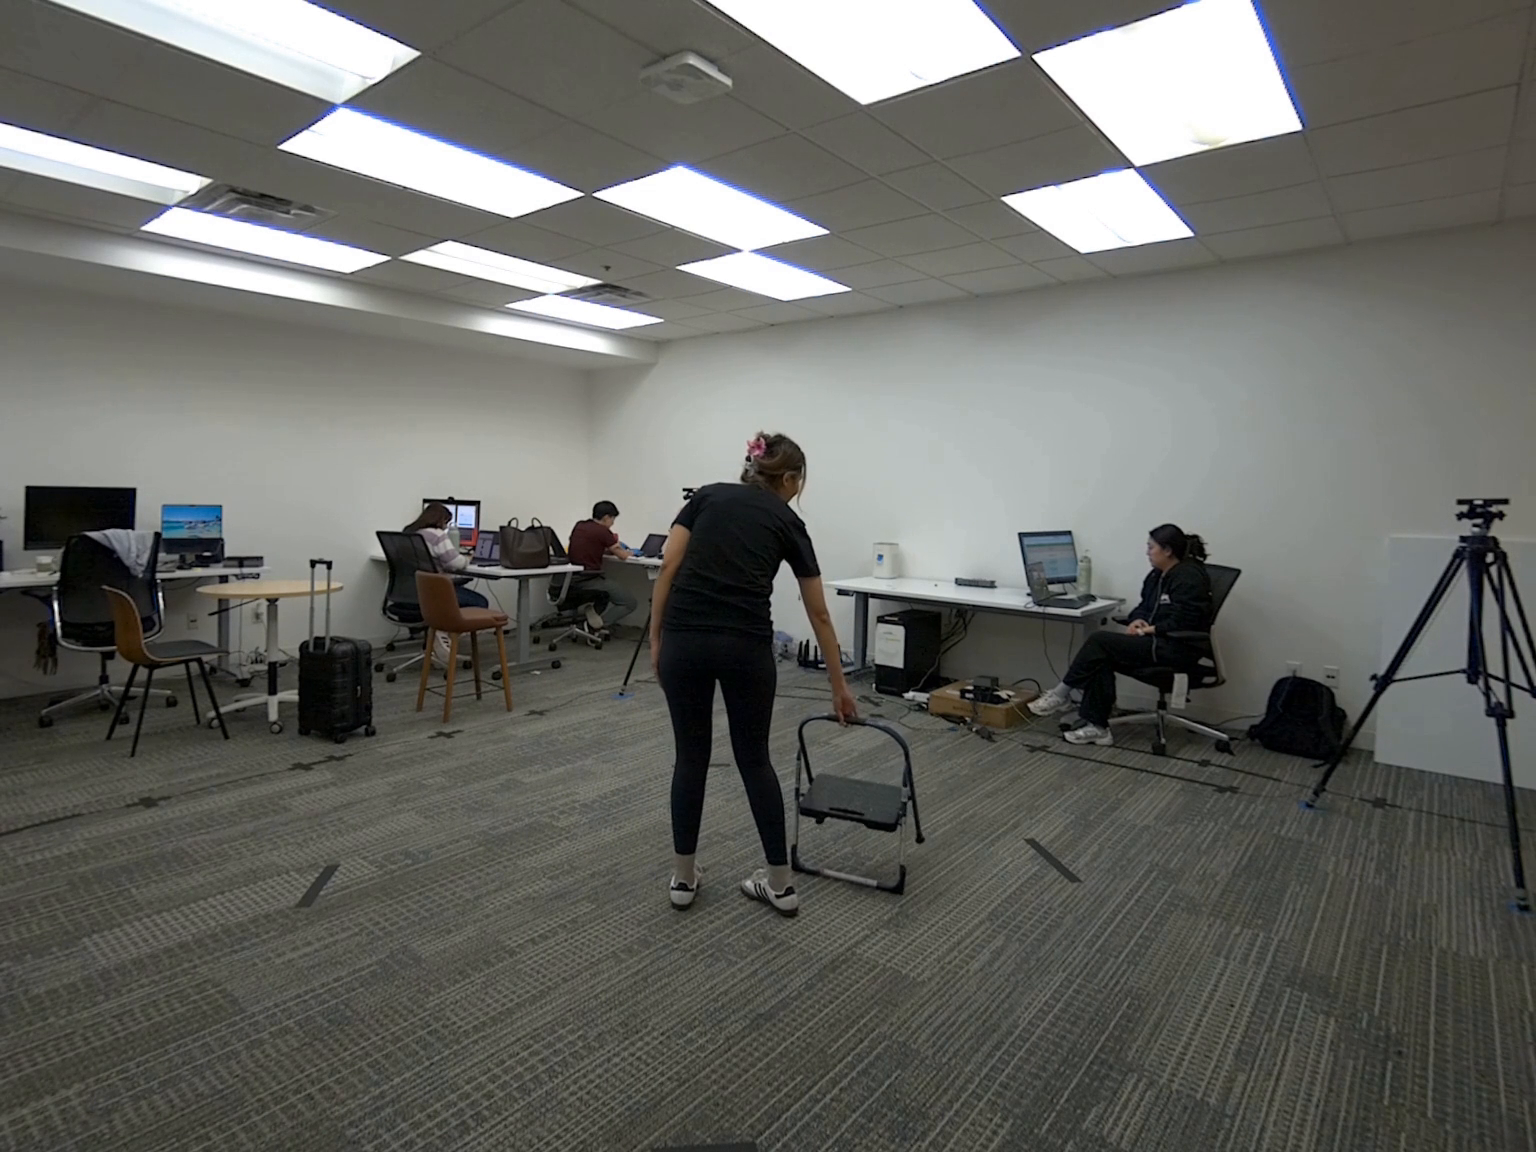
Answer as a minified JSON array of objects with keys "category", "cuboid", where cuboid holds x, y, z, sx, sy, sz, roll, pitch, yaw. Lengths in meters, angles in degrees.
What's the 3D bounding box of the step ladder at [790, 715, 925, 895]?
[{"category":"step ladder","cuboid":[0.304,0.749,3.100,0.441,0.596,0.346,3,17,22]}]
